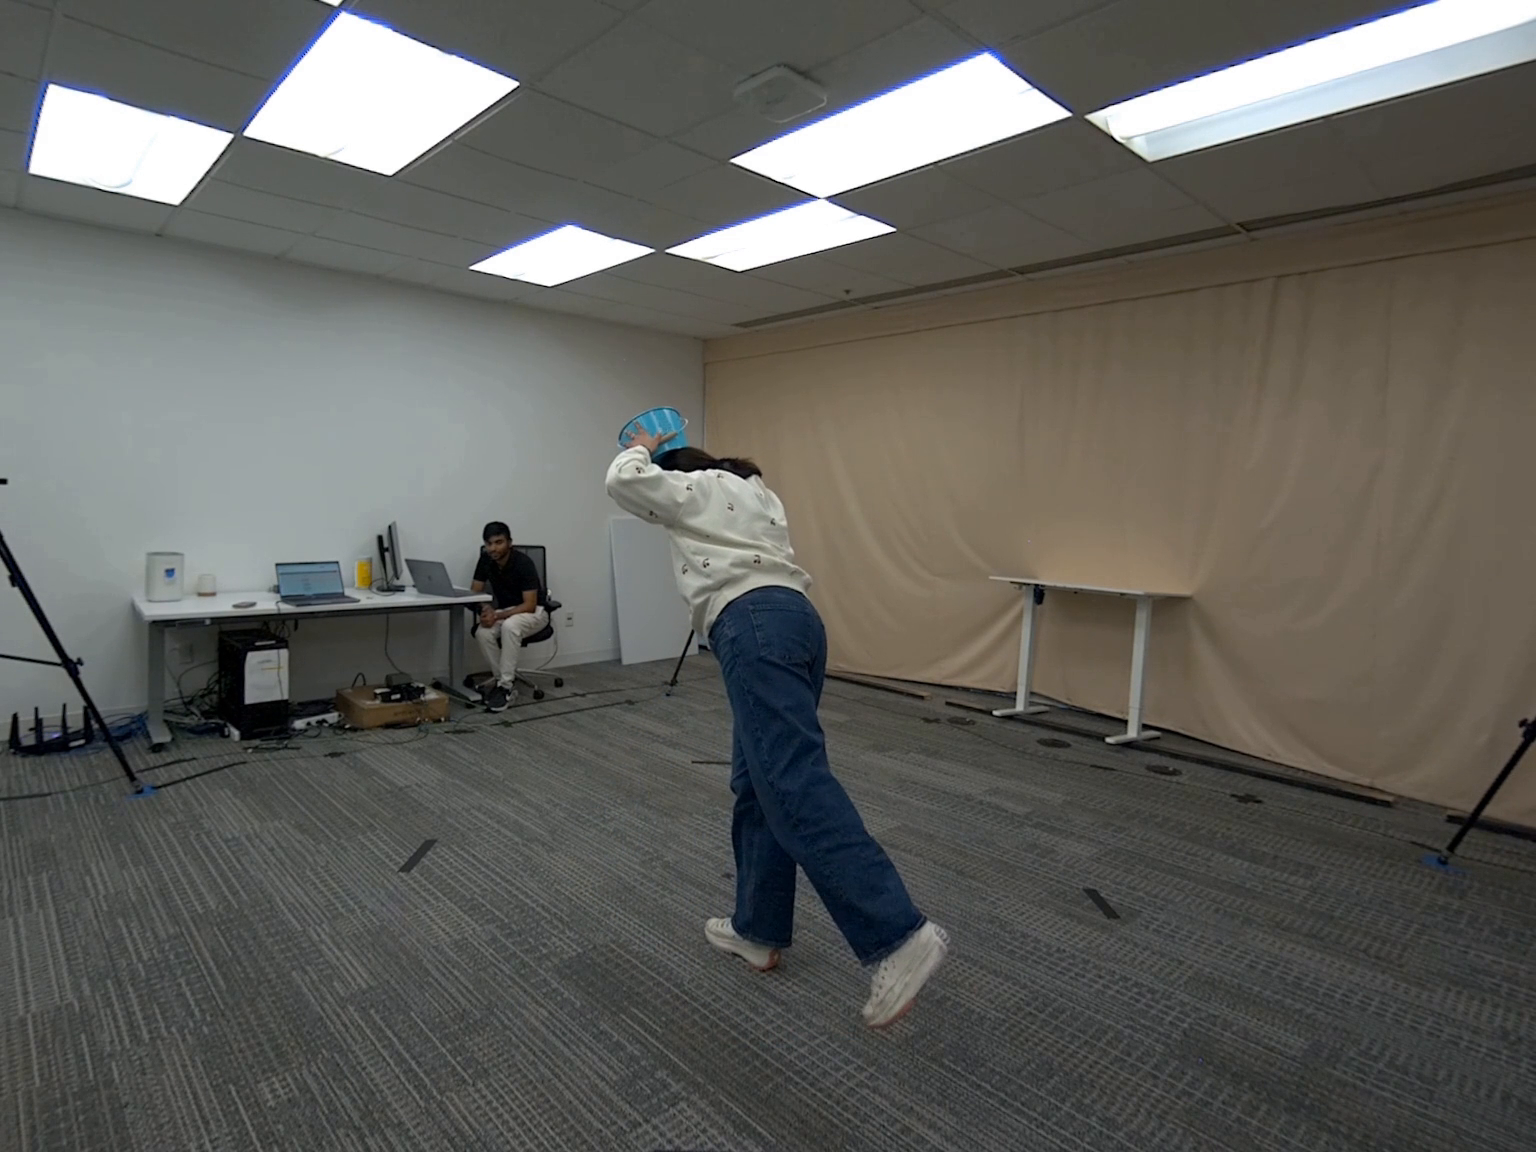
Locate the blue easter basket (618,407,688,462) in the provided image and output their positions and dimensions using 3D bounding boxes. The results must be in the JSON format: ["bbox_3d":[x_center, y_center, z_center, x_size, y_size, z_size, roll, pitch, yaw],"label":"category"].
[{"bbox_3d":[-0.392,-0.439,2.855,0.242,0.159,0.240,-23,-20,-10],"label":"blue easter basket"}]
